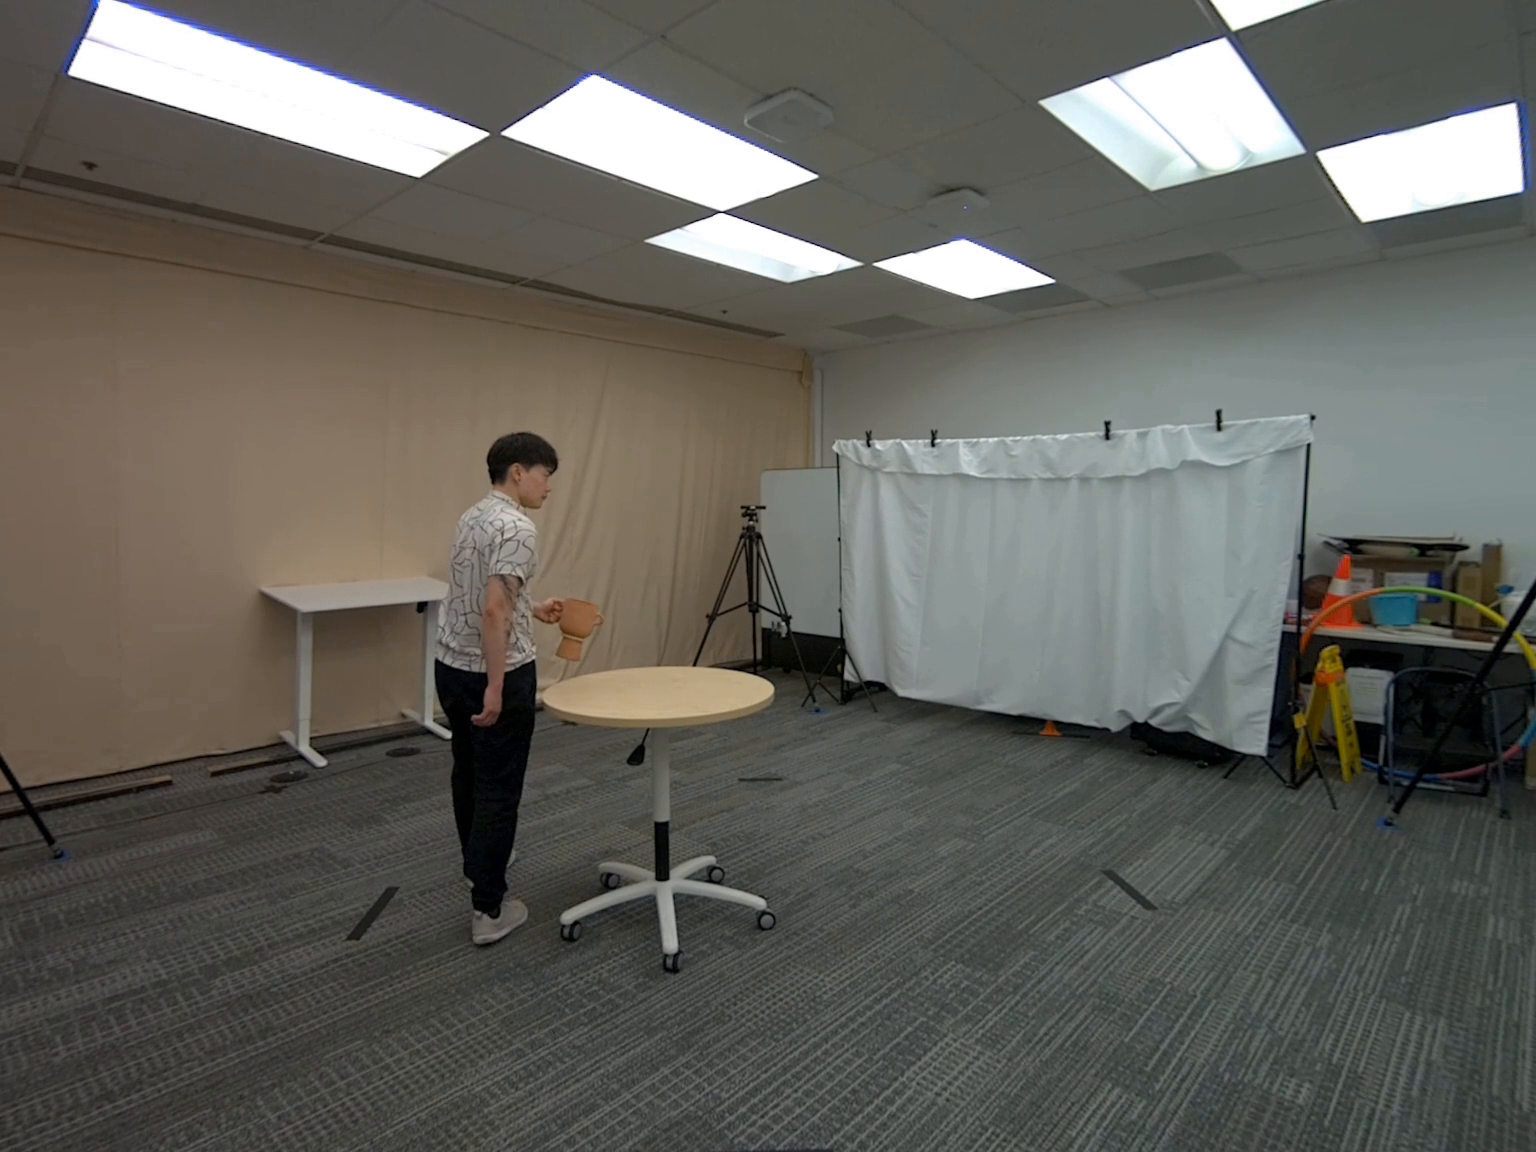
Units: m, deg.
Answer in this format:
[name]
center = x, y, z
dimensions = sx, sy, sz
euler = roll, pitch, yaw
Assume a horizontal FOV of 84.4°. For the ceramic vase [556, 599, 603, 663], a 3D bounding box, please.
[ceramic vase]
center = -0.740, 0.201, 3.204
dimensions = 0.130, 0.220, 0.164
euler = 13, -3, -43
